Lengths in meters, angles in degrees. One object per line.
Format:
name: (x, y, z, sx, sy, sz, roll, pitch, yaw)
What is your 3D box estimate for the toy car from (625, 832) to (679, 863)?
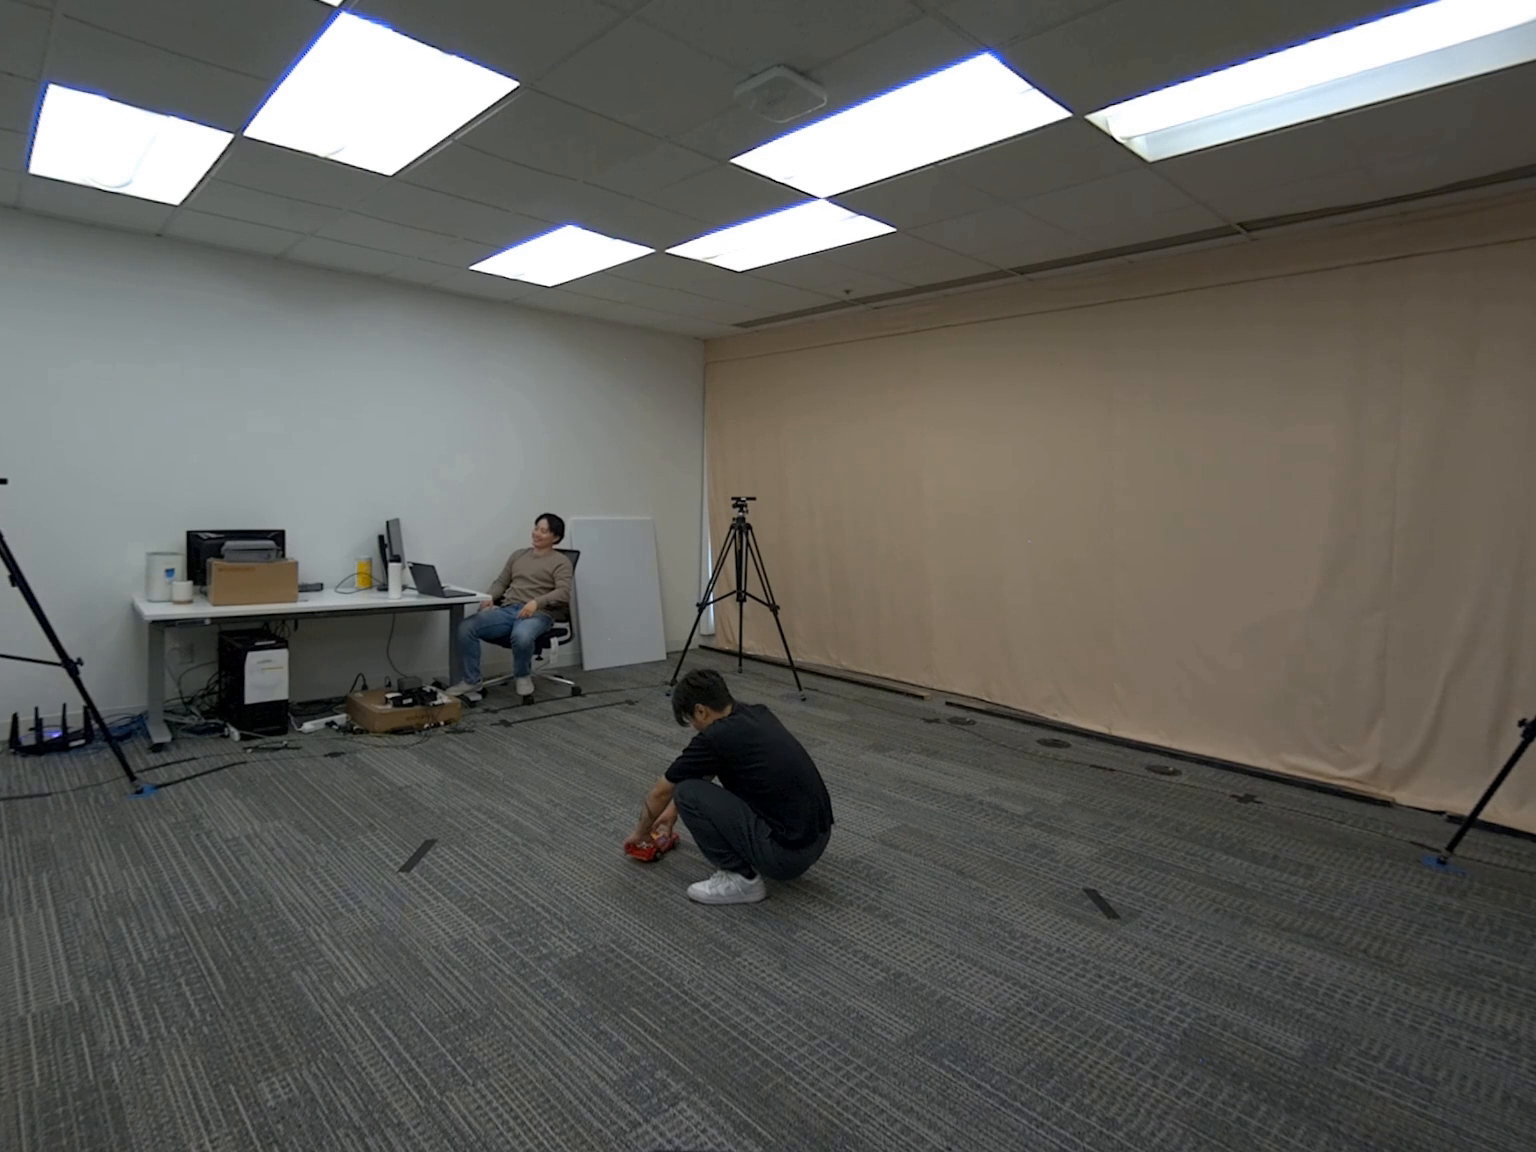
toy car: (-0.451, 1.048, 3.276, 0.133, 0.083, 0.248, 3, -7, 26)
